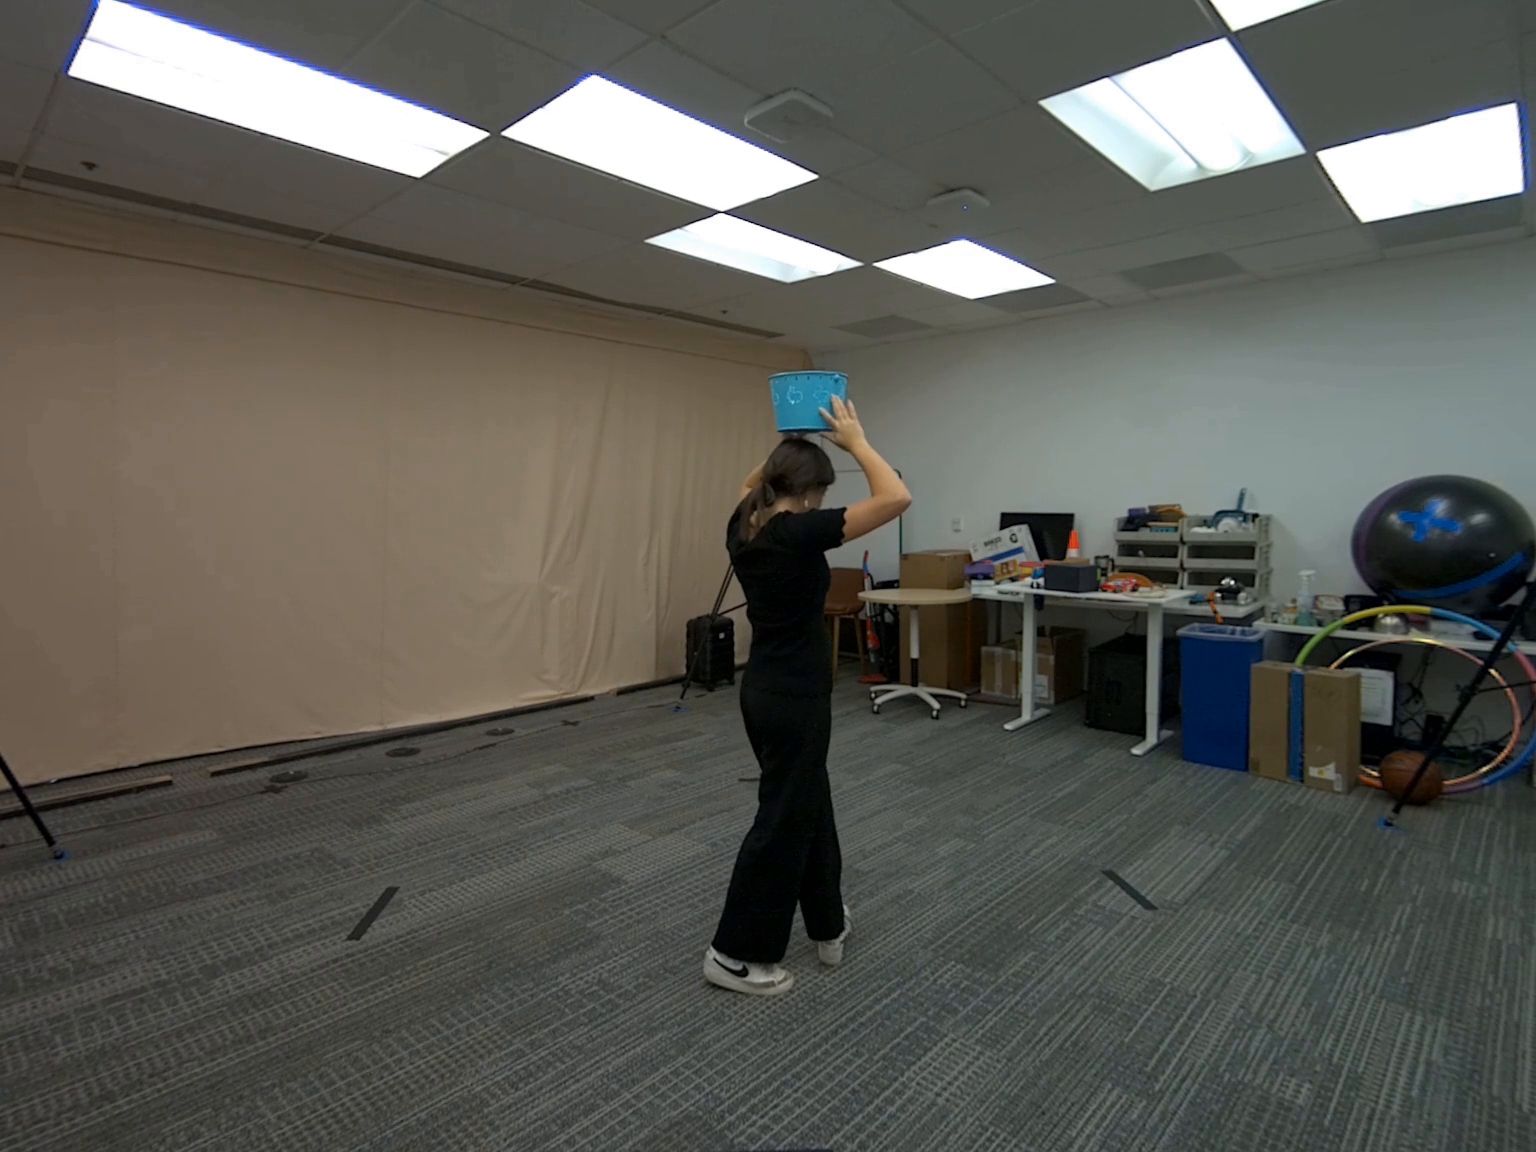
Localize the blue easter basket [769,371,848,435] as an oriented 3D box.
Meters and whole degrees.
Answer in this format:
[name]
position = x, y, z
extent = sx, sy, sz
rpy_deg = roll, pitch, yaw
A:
[blue easter basket]
position = 0.135, -0.494, 2.417
extent = 0.243, 0.155, 0.244
rpy_deg = -1, 3, -2
